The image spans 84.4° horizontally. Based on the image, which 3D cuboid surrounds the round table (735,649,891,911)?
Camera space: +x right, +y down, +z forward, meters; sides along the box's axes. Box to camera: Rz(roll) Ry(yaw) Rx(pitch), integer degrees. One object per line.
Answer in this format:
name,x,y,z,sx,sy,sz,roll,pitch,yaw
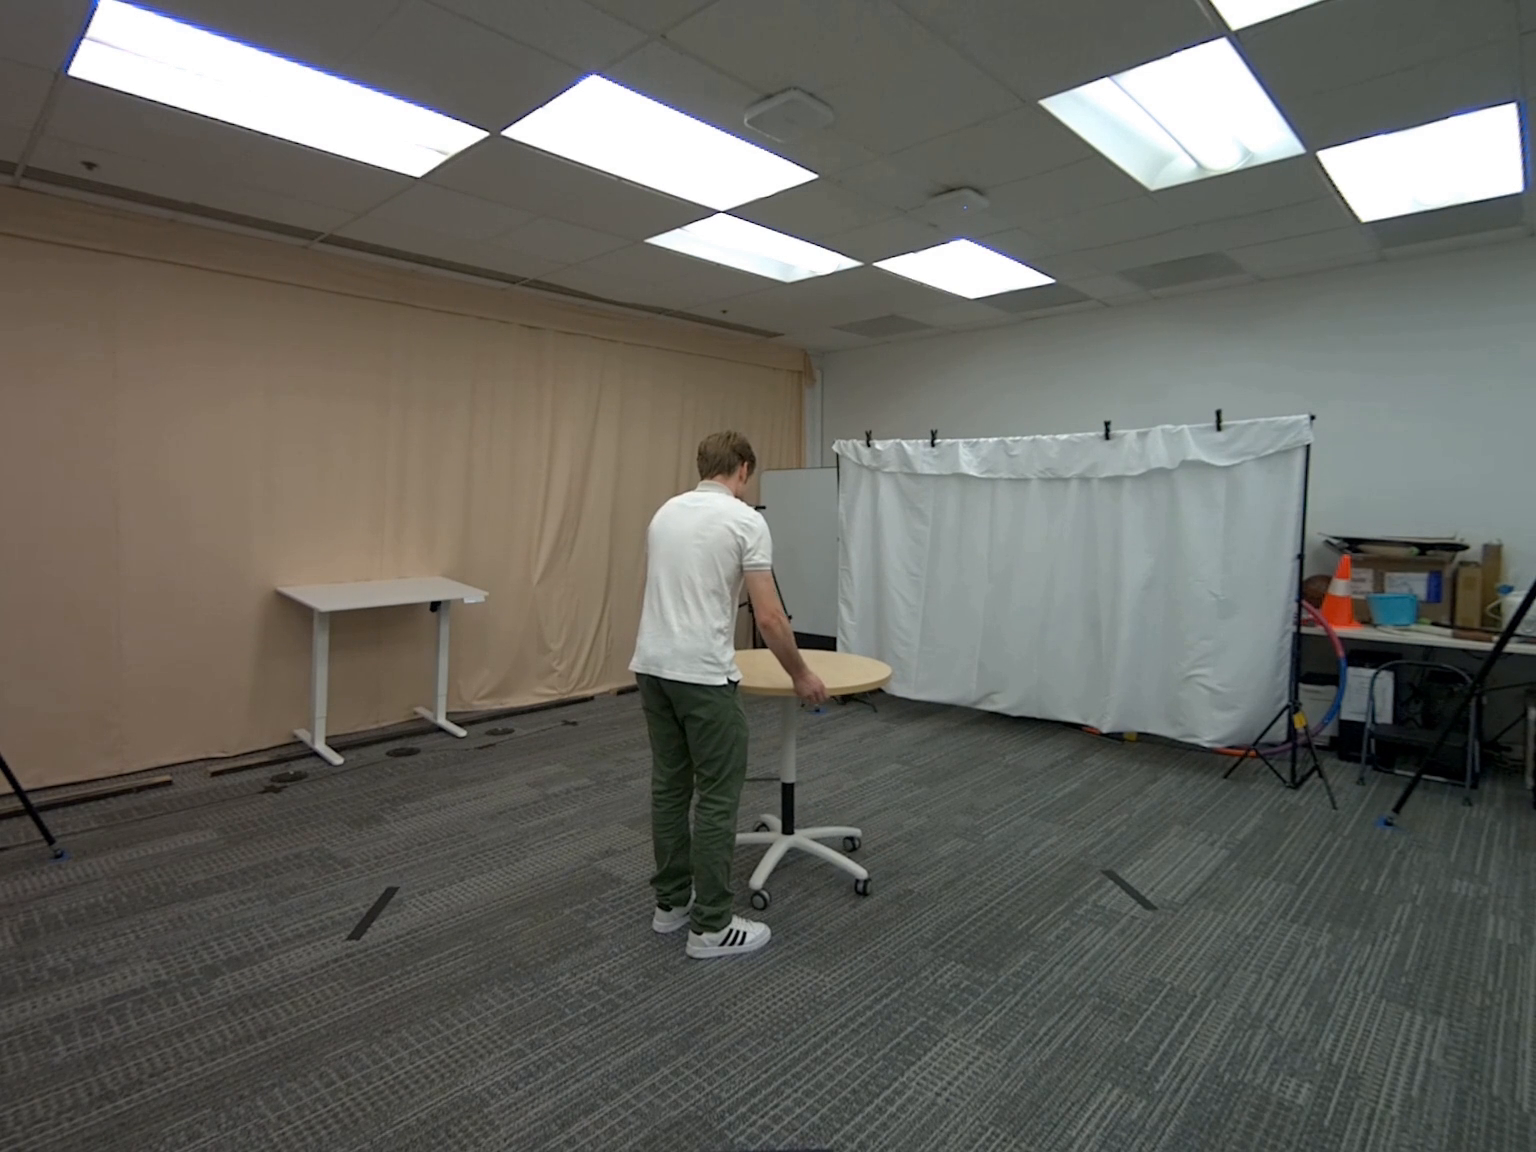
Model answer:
round table,0.079,0.735,3.203,0.763,0.792,0.766,1,4,-2
